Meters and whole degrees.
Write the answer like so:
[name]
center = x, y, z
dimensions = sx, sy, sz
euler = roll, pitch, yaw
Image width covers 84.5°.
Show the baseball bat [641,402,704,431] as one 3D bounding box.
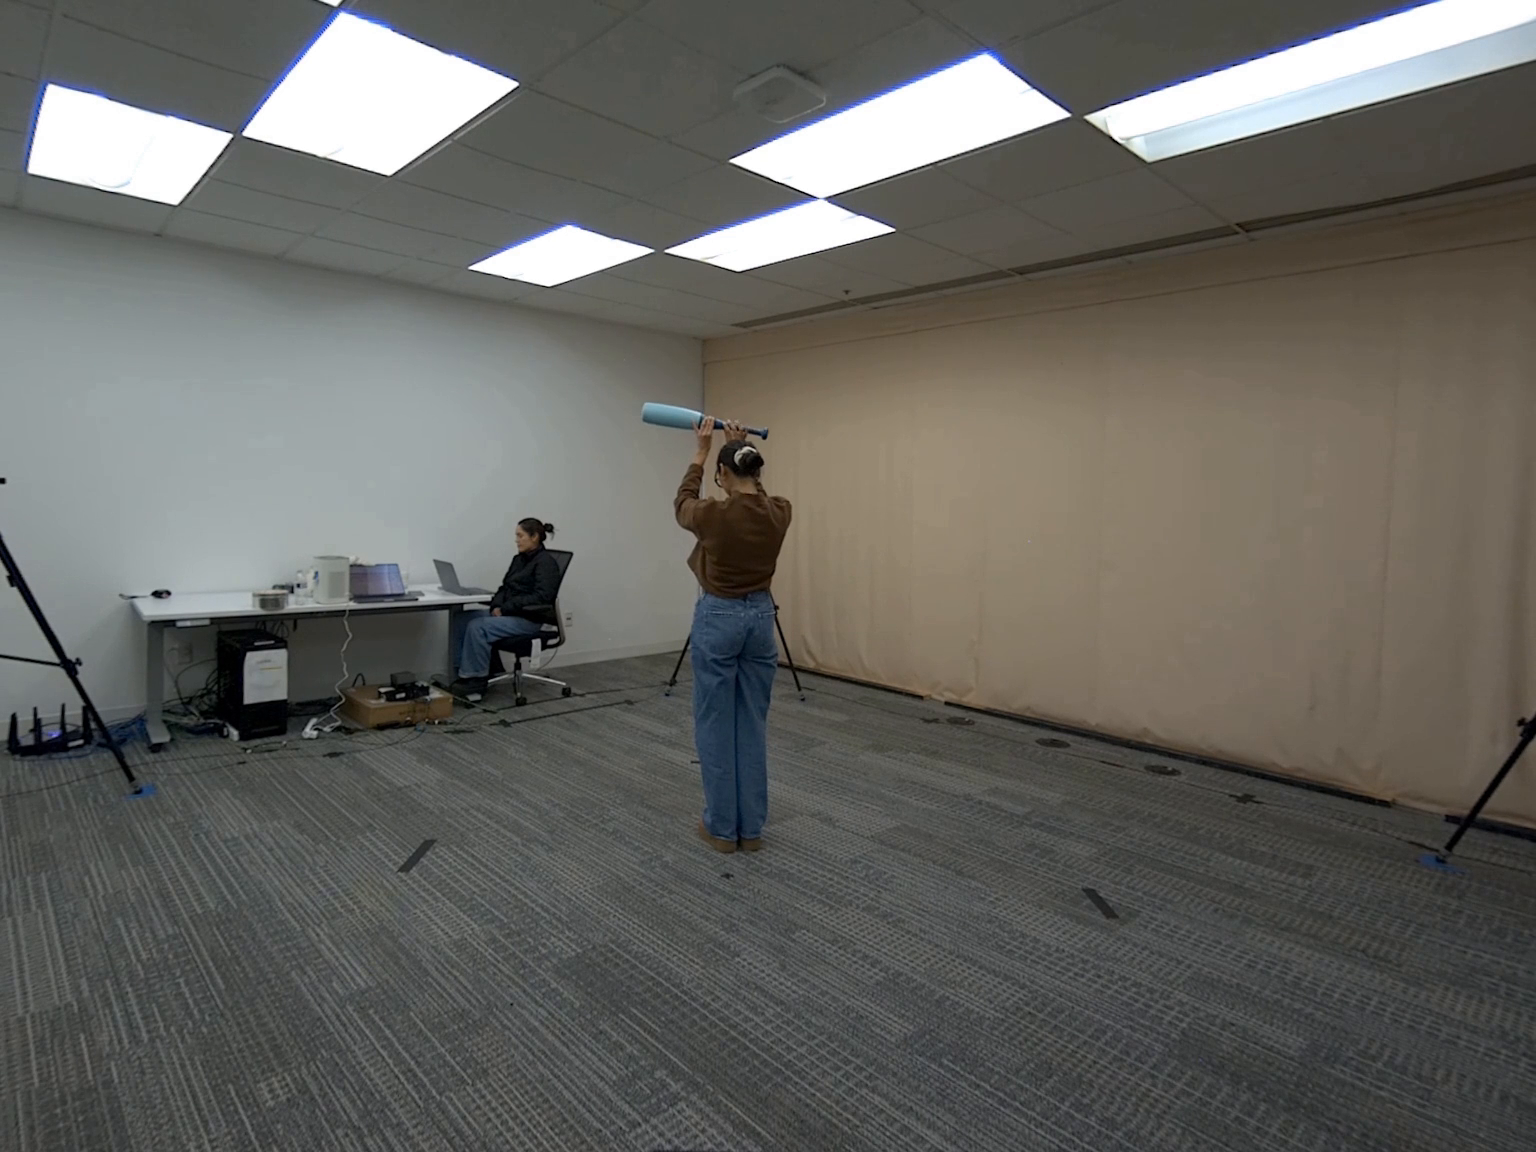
[baseball bat]
center = -0.270, -0.648, 3.555
dimensions = 0.545, 0.089, 0.089
euler = 11, 5, 4
